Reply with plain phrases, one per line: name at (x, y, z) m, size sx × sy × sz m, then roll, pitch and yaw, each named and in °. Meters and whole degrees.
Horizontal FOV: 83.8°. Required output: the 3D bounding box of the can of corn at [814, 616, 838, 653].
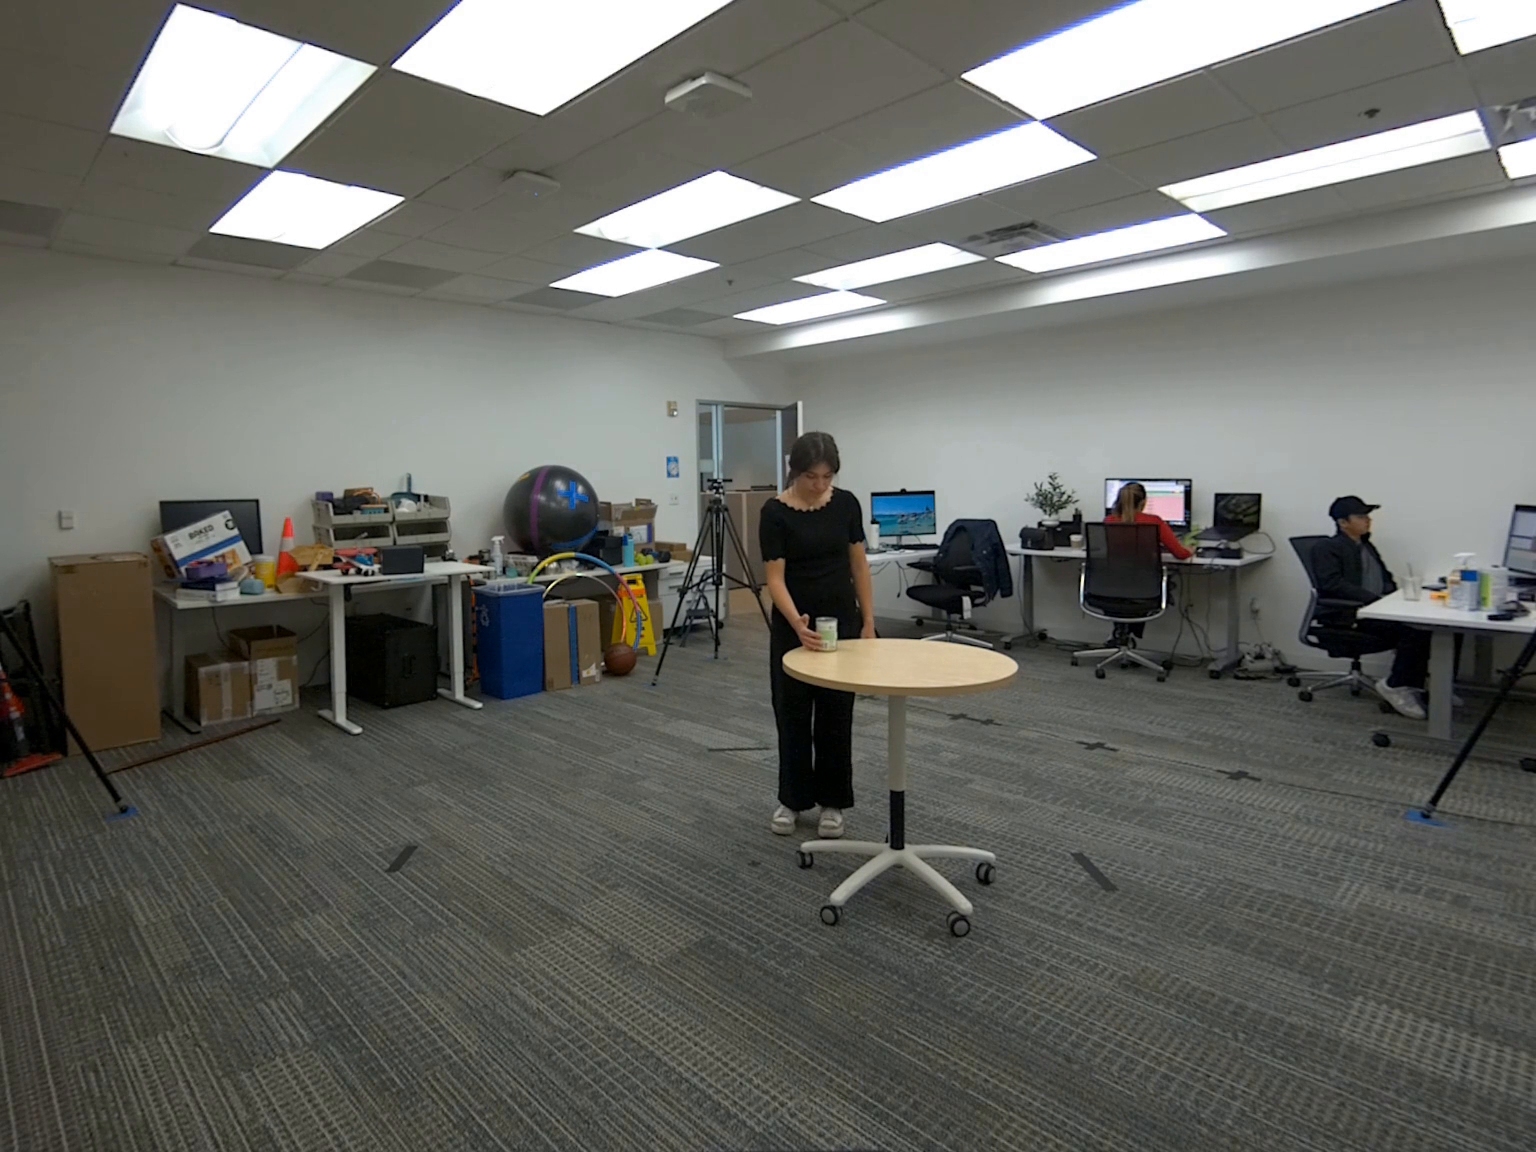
can of corn at (0.204, 0.212, 3.019) m, size 0.074 × 0.111 × 0.074 m, roll -2°, pitch 3°, yaw -2°
